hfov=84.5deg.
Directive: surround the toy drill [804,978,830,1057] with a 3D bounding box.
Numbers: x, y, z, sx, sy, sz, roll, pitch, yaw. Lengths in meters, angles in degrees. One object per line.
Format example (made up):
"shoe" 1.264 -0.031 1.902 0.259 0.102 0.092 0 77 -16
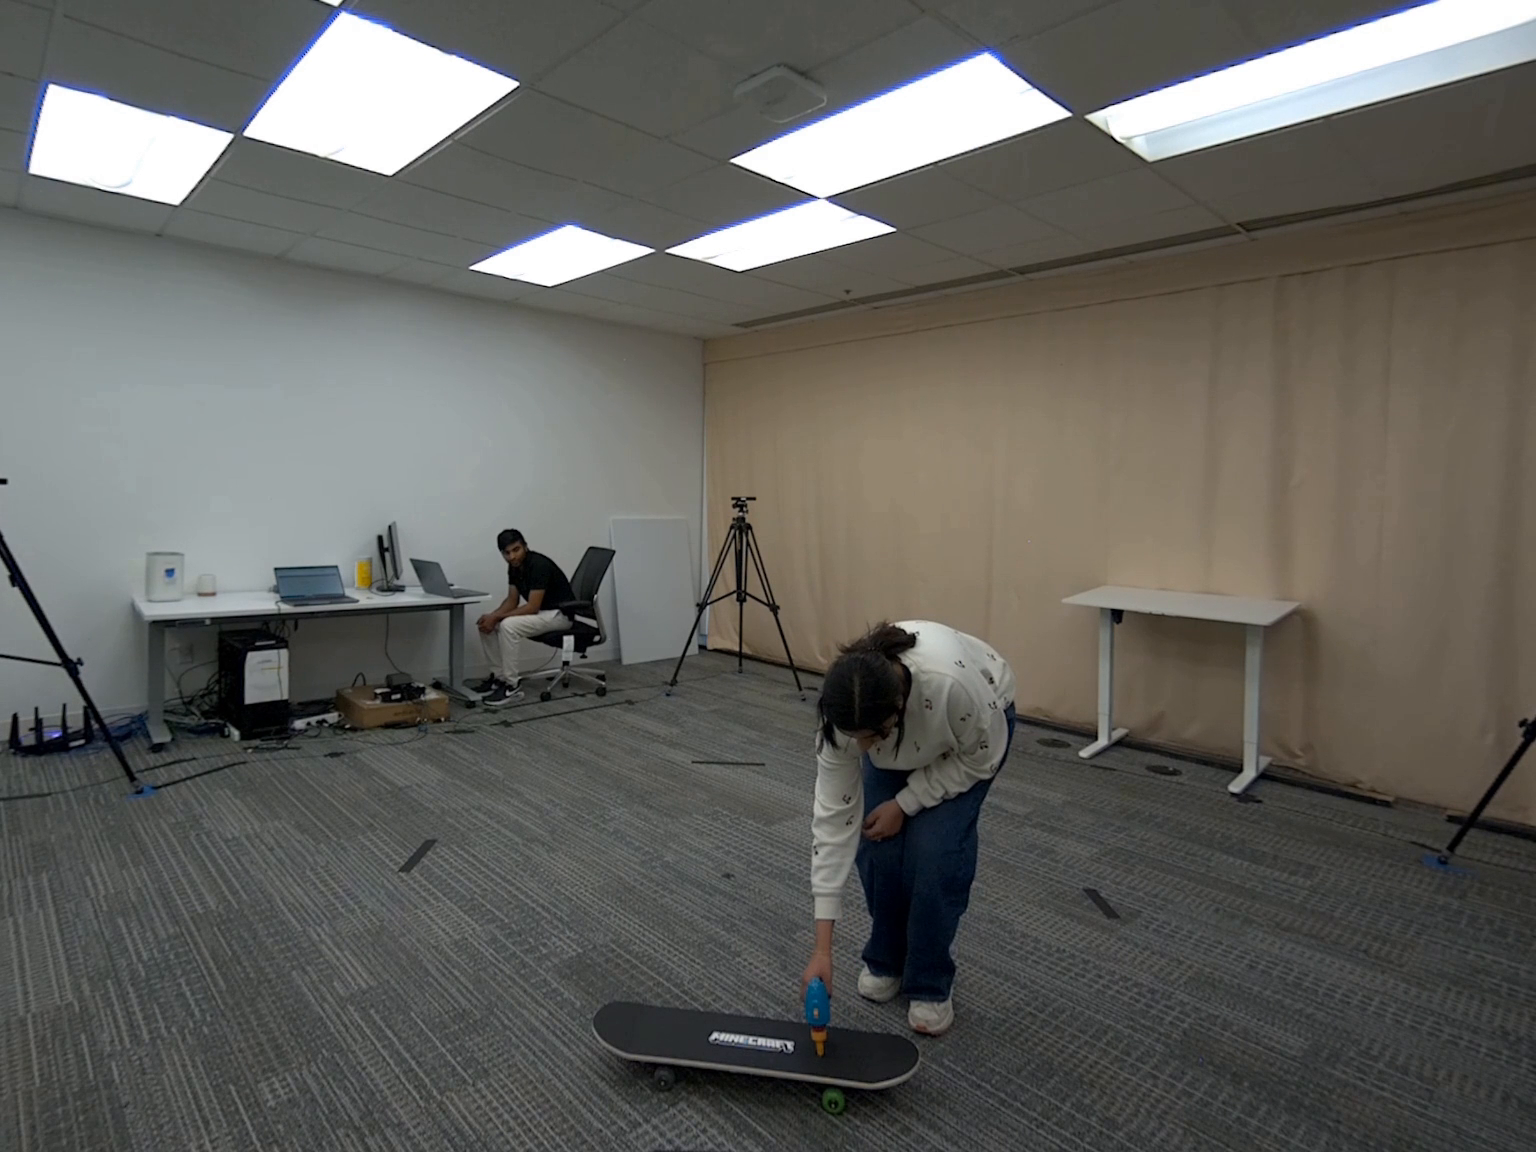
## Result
"toy drill" 0.113 1.060 2.018 0.061 0.171 0.143 -4 -13 9
